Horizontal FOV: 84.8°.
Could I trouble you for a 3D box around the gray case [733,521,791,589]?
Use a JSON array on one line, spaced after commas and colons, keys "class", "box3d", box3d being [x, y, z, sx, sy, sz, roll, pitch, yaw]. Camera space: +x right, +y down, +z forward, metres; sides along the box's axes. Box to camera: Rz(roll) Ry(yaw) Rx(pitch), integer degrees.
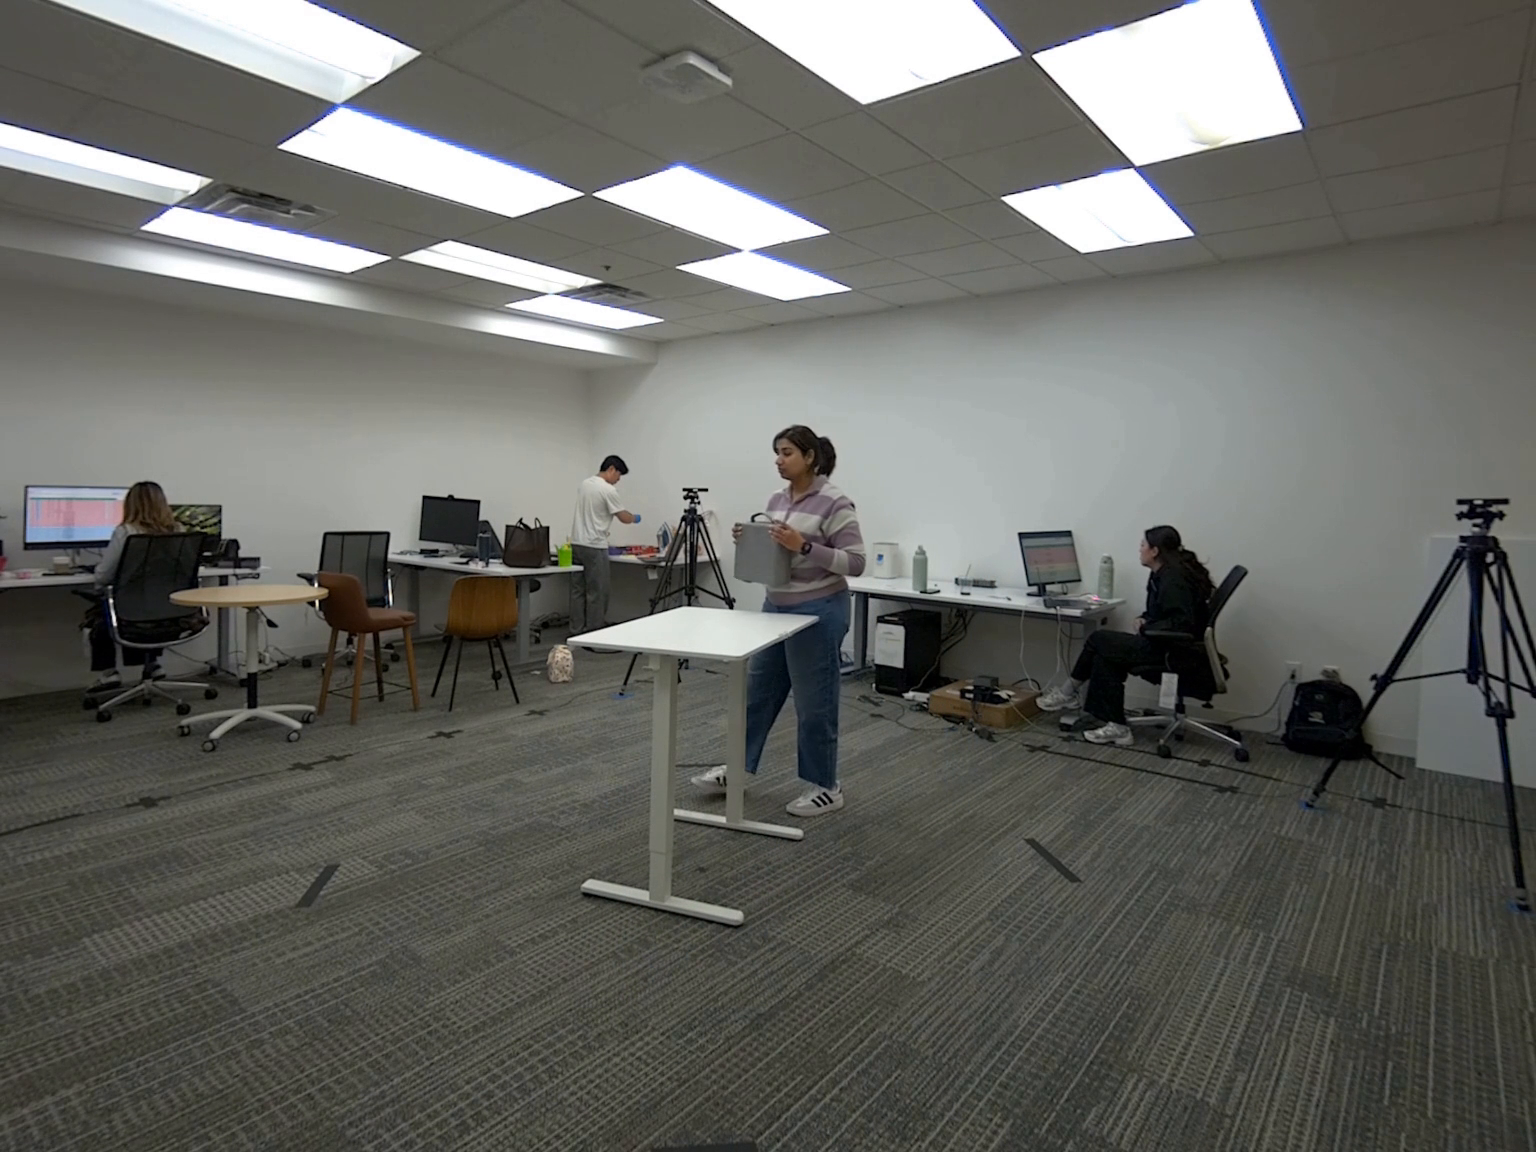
[{"class": "gray case", "box3d": [-0.034, -0.102, 3.575, 0.265, 0.260, 0.101, 3, 1, 39]}]
